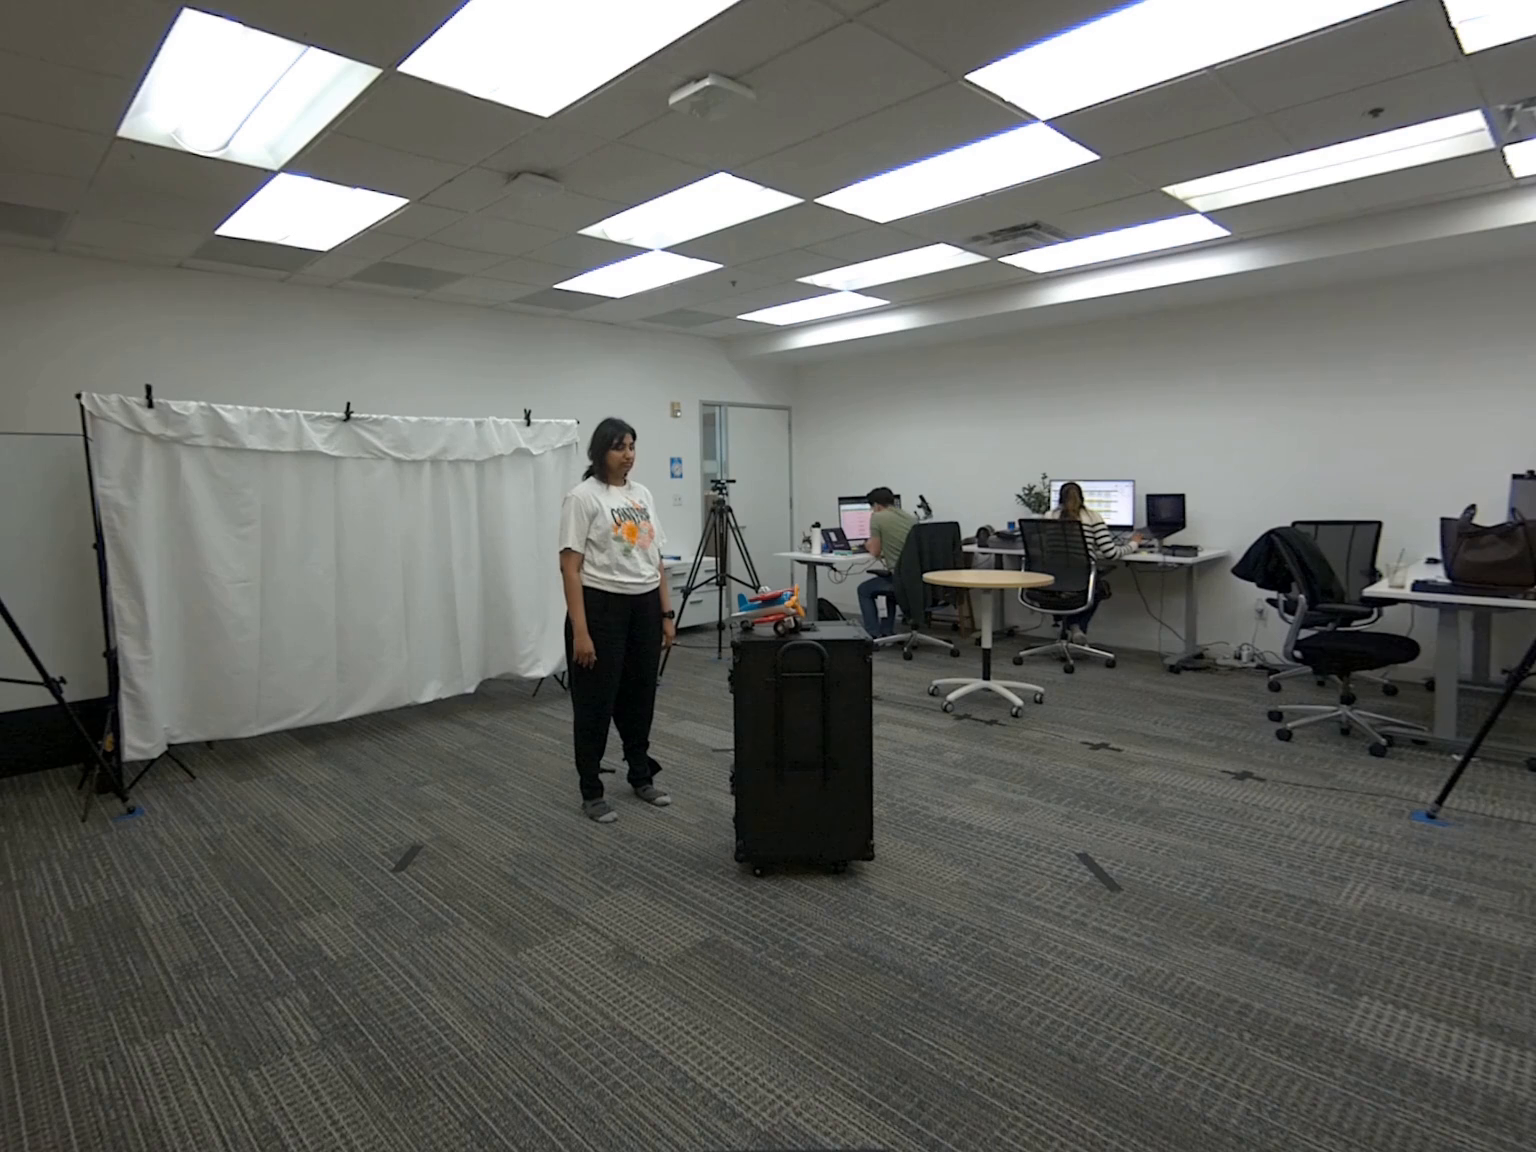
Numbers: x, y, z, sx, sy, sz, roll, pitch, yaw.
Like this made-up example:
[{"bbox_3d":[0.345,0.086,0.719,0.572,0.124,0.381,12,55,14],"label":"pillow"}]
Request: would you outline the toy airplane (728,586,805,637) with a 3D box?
[{"bbox_3d":[0.001,0.122,3.056,0.261,0.156,0.250,0,6,7],"label":"toy airplane"}]
